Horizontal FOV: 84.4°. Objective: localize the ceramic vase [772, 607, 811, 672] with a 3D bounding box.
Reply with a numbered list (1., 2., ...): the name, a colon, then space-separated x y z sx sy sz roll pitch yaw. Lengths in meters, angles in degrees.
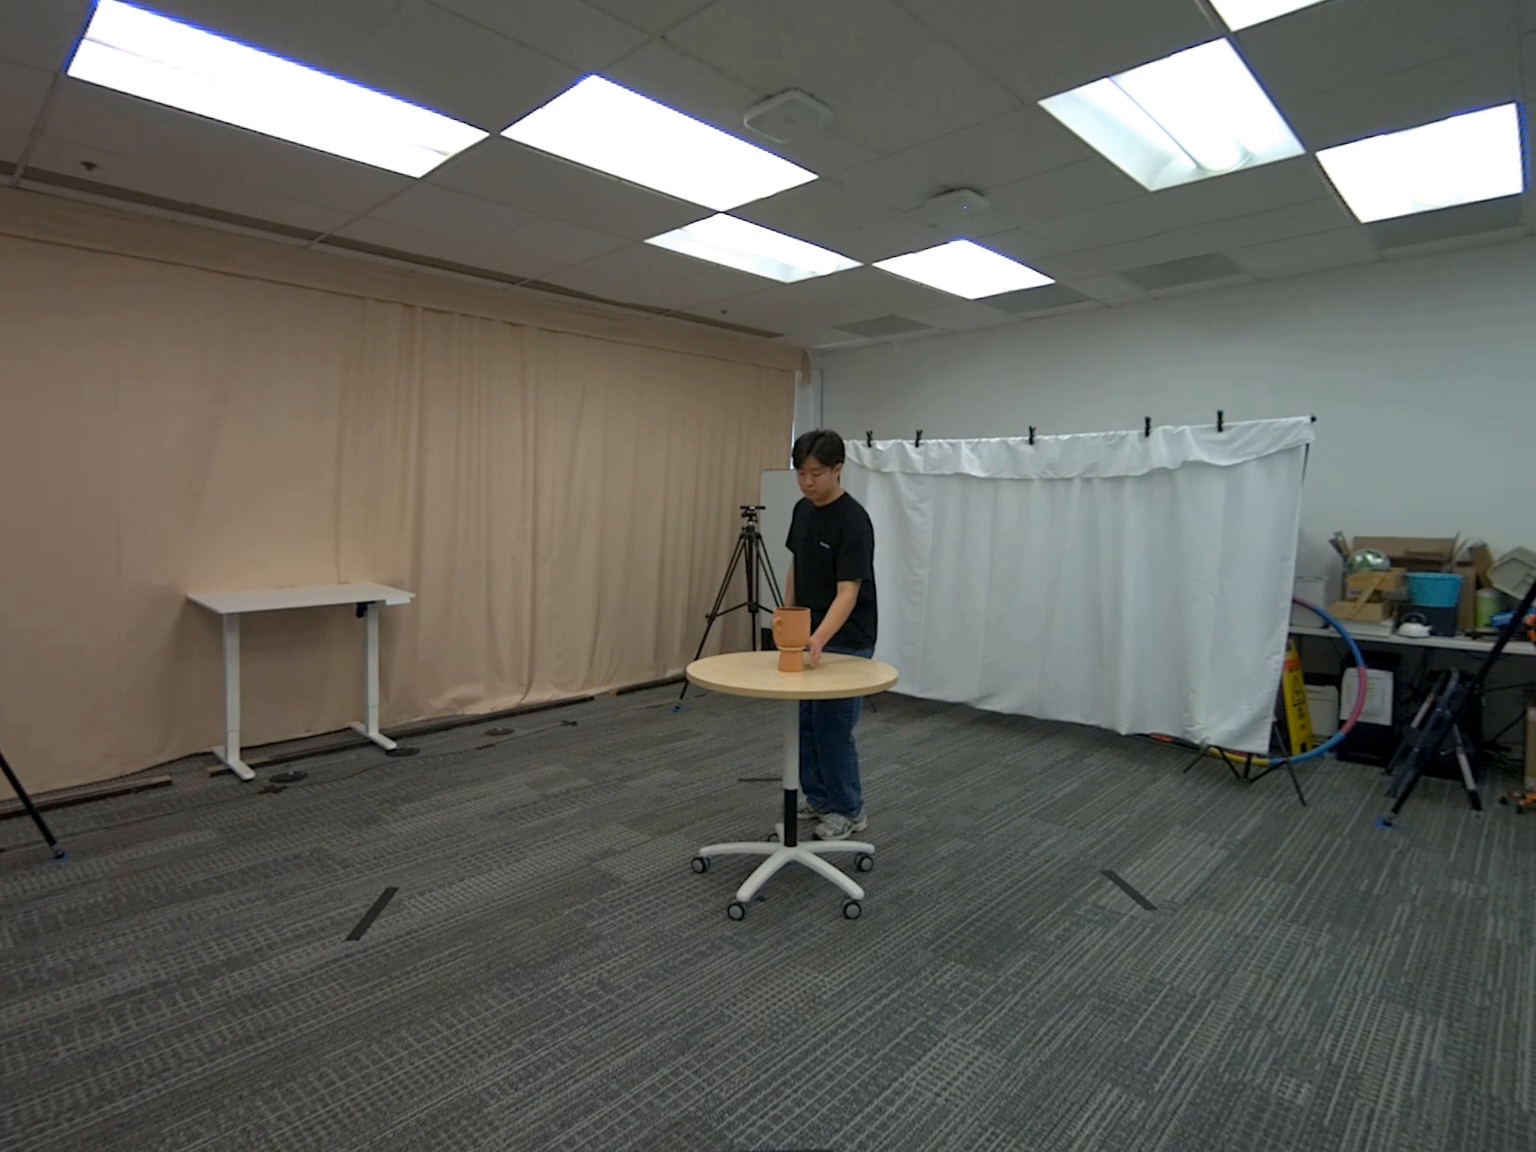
1. ceramic vase: 0.088 0.233 3.054 0.158 0.219 0.136 0 4 -6
